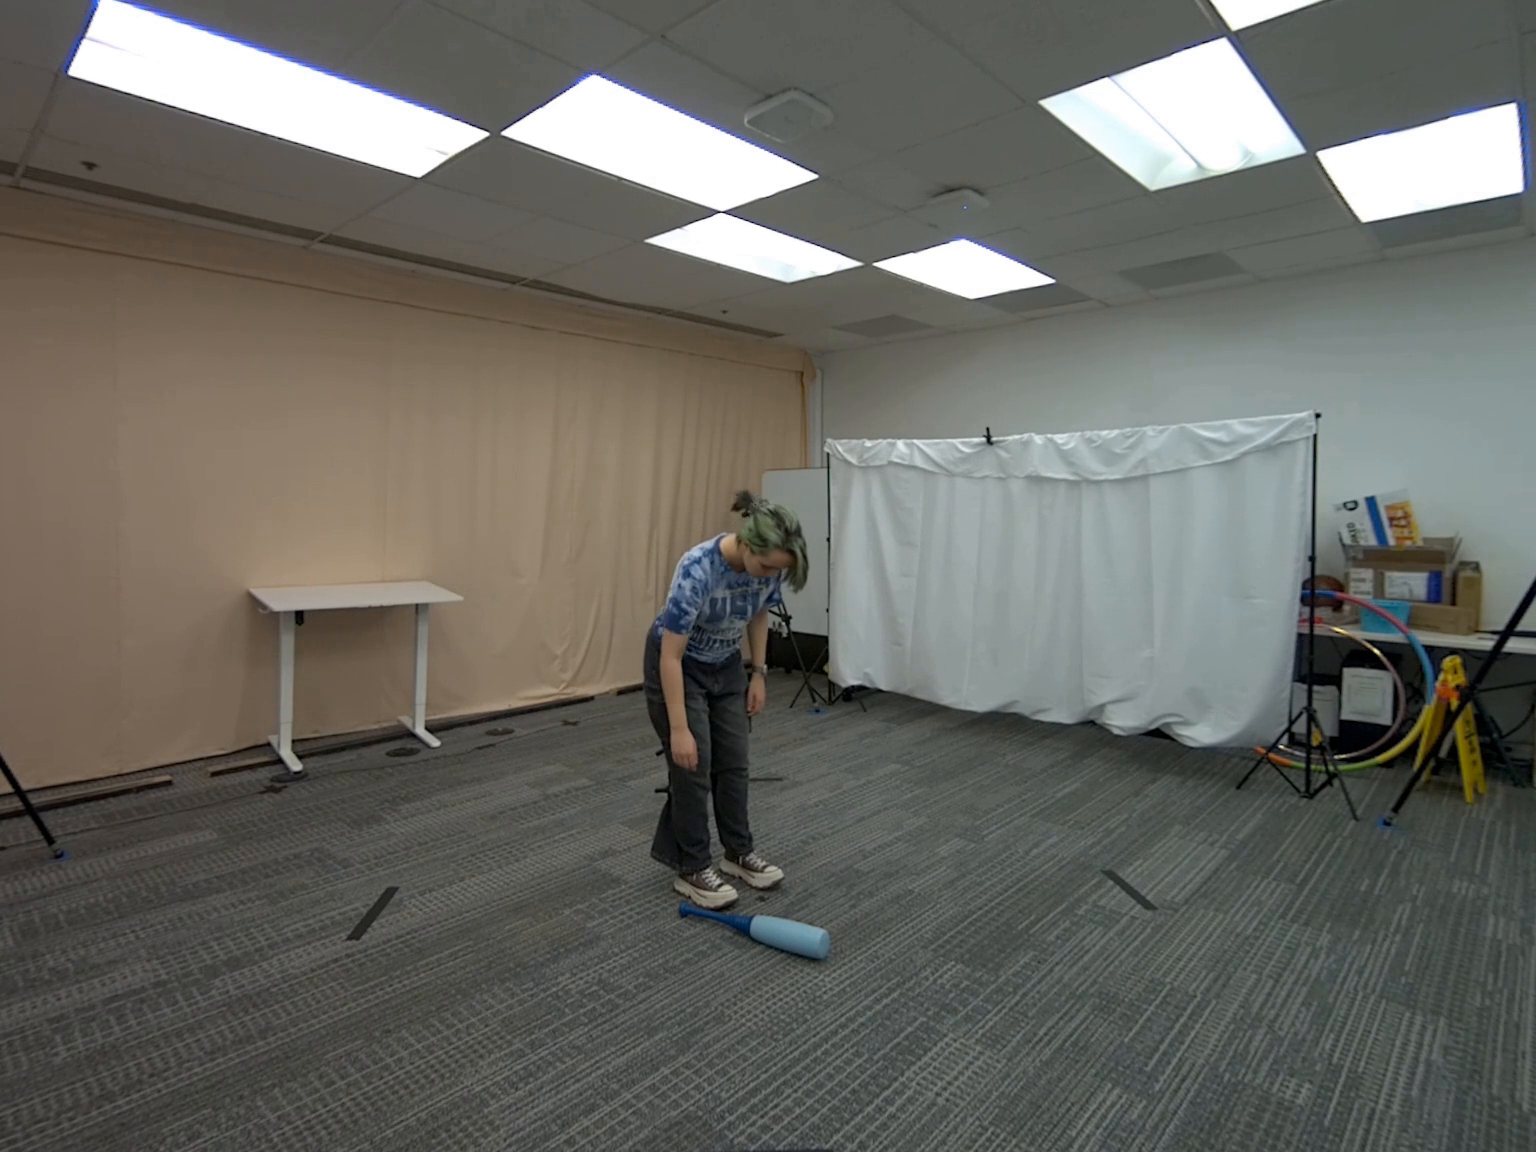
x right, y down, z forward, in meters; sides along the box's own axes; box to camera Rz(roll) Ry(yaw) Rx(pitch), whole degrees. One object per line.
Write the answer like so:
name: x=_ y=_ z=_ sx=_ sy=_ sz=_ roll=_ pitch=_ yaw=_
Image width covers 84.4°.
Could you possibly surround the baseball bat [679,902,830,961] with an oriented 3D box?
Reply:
baseball bat: x=-0.058 y=1.132 z=2.714 sx=0.559 sy=0.089 sz=0.086 roll=-1 pitch=3 yaw=32
